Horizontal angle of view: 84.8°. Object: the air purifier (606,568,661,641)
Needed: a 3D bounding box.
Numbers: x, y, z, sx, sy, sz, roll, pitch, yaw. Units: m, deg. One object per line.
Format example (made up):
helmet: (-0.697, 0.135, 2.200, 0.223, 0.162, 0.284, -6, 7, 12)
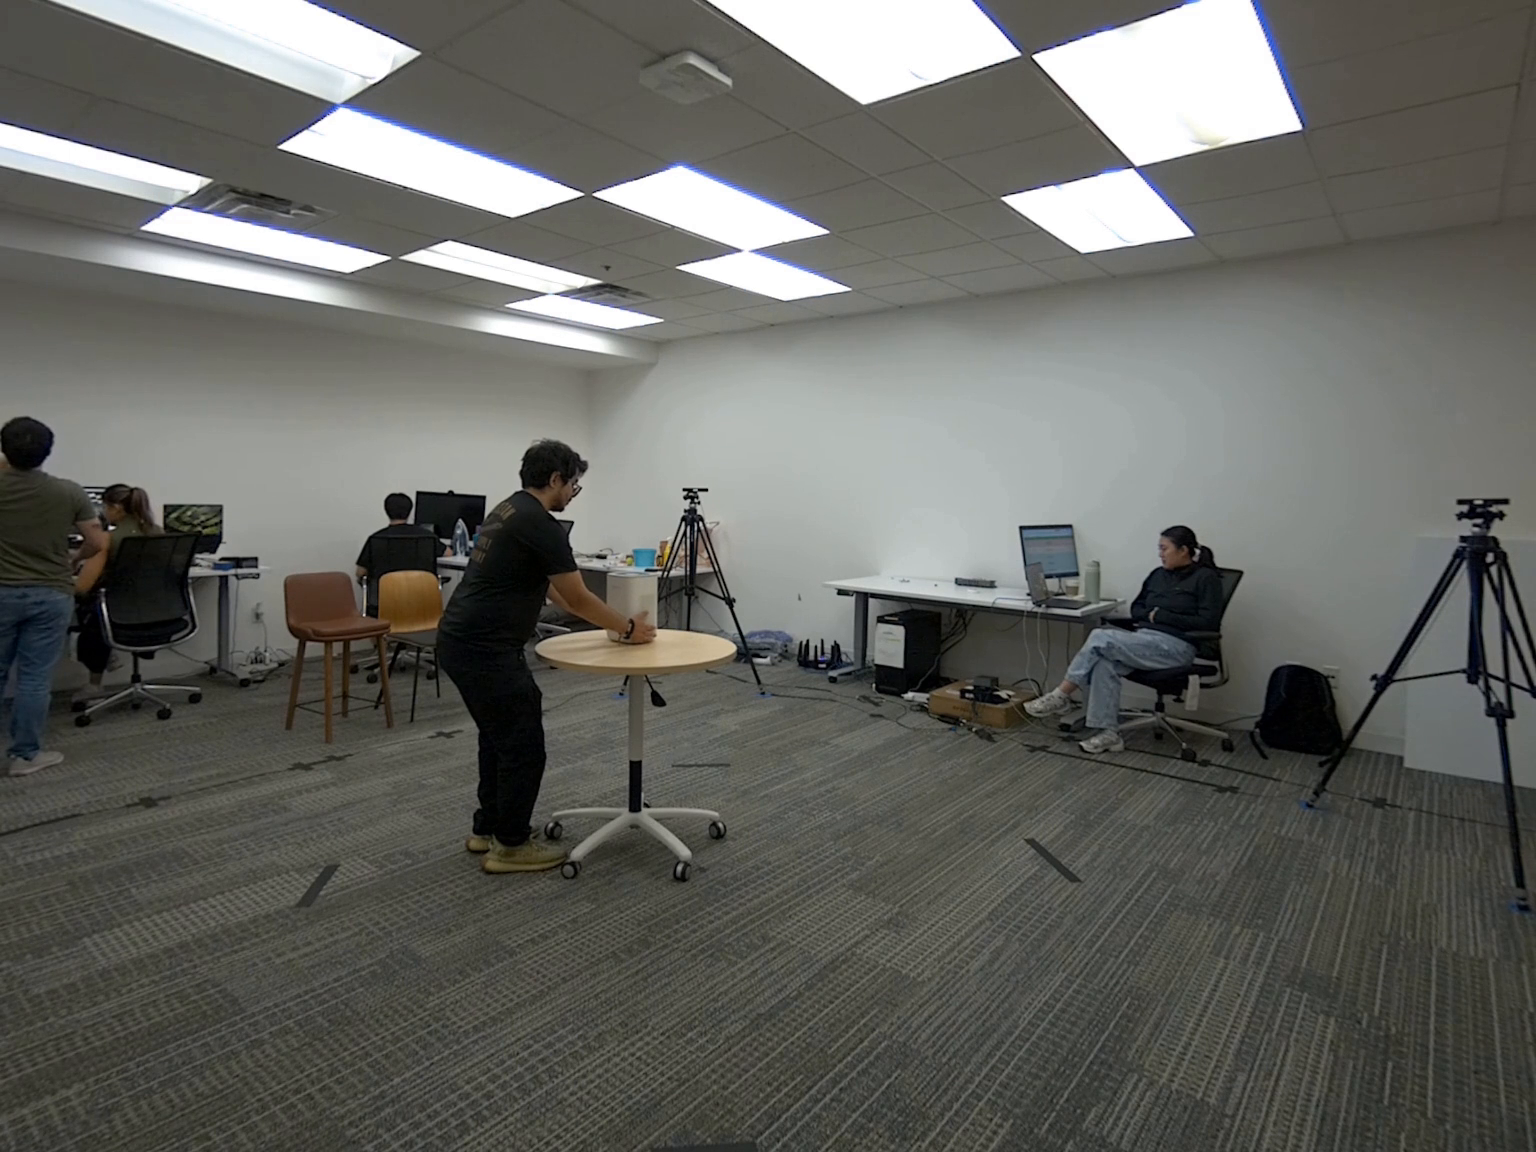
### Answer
air purifier: (-0.552, 0.121, 3.371, 0.176, 0.265, 0.167, 4, 4, 33)
